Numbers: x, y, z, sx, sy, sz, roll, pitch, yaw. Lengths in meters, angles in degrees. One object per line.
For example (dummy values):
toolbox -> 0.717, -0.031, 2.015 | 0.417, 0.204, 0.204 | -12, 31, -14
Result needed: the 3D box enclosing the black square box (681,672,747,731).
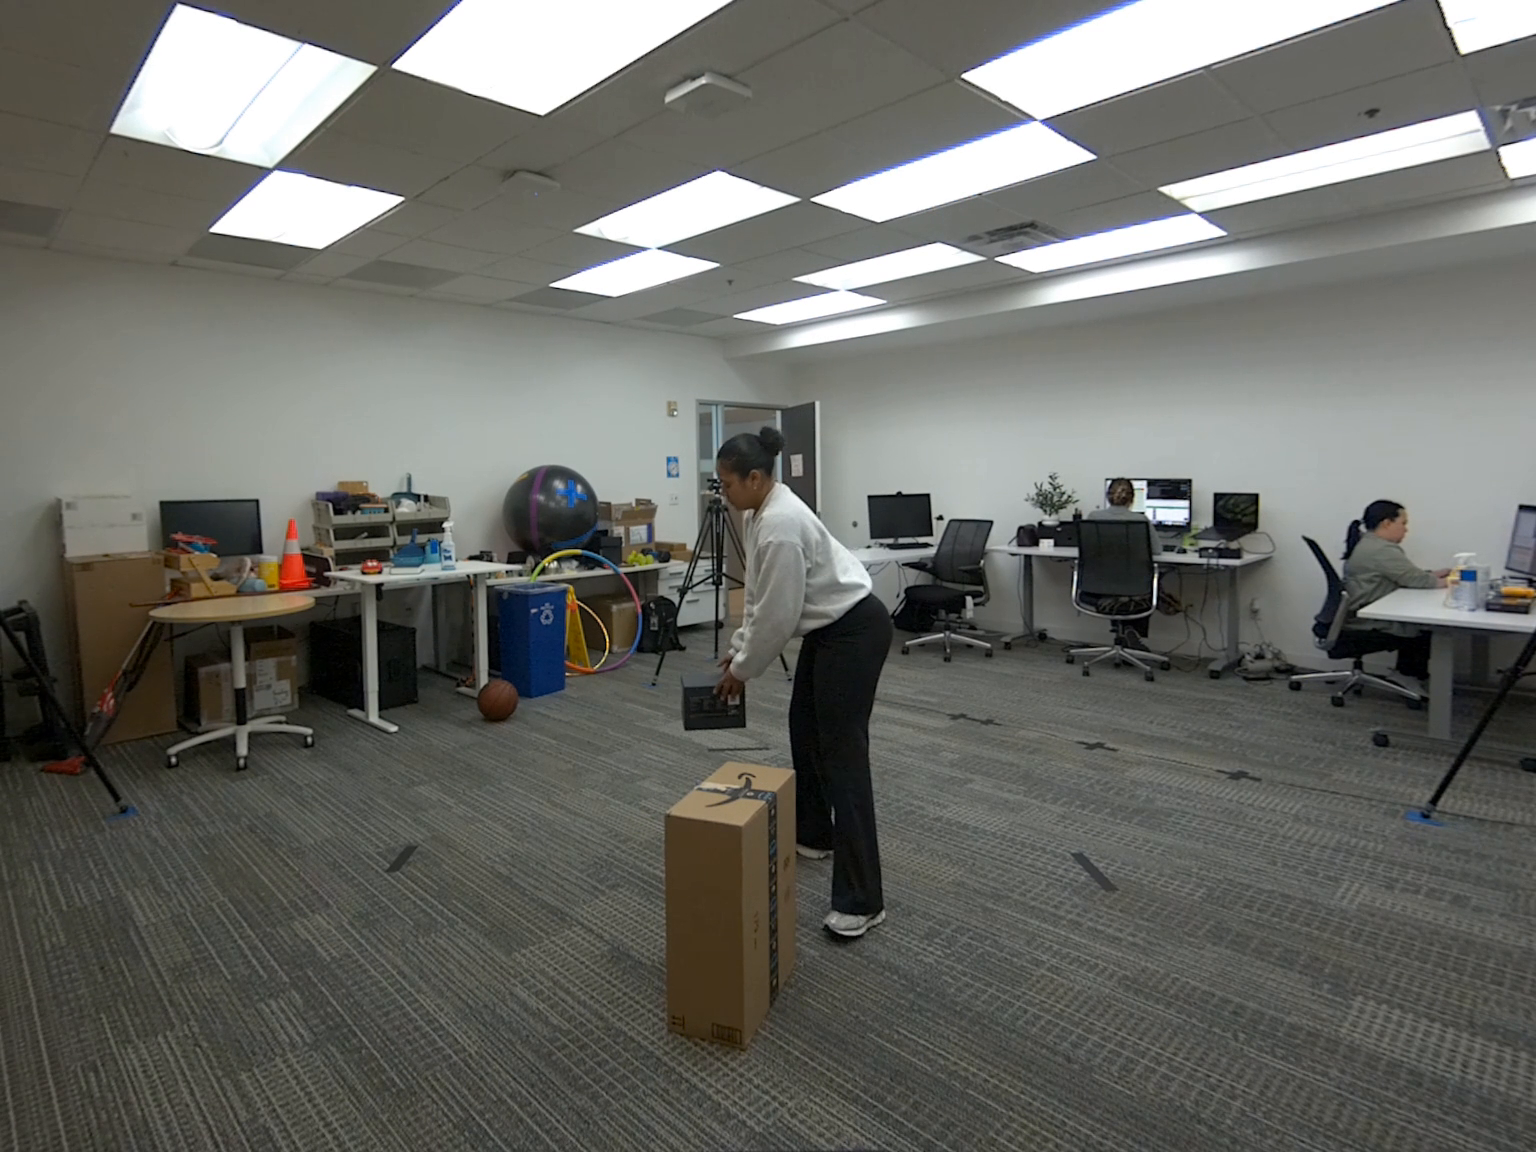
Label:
black square box -> -0.201, 0.443, 3.067 | 0.216, 0.155, 0.229 | -2, 4, -3
